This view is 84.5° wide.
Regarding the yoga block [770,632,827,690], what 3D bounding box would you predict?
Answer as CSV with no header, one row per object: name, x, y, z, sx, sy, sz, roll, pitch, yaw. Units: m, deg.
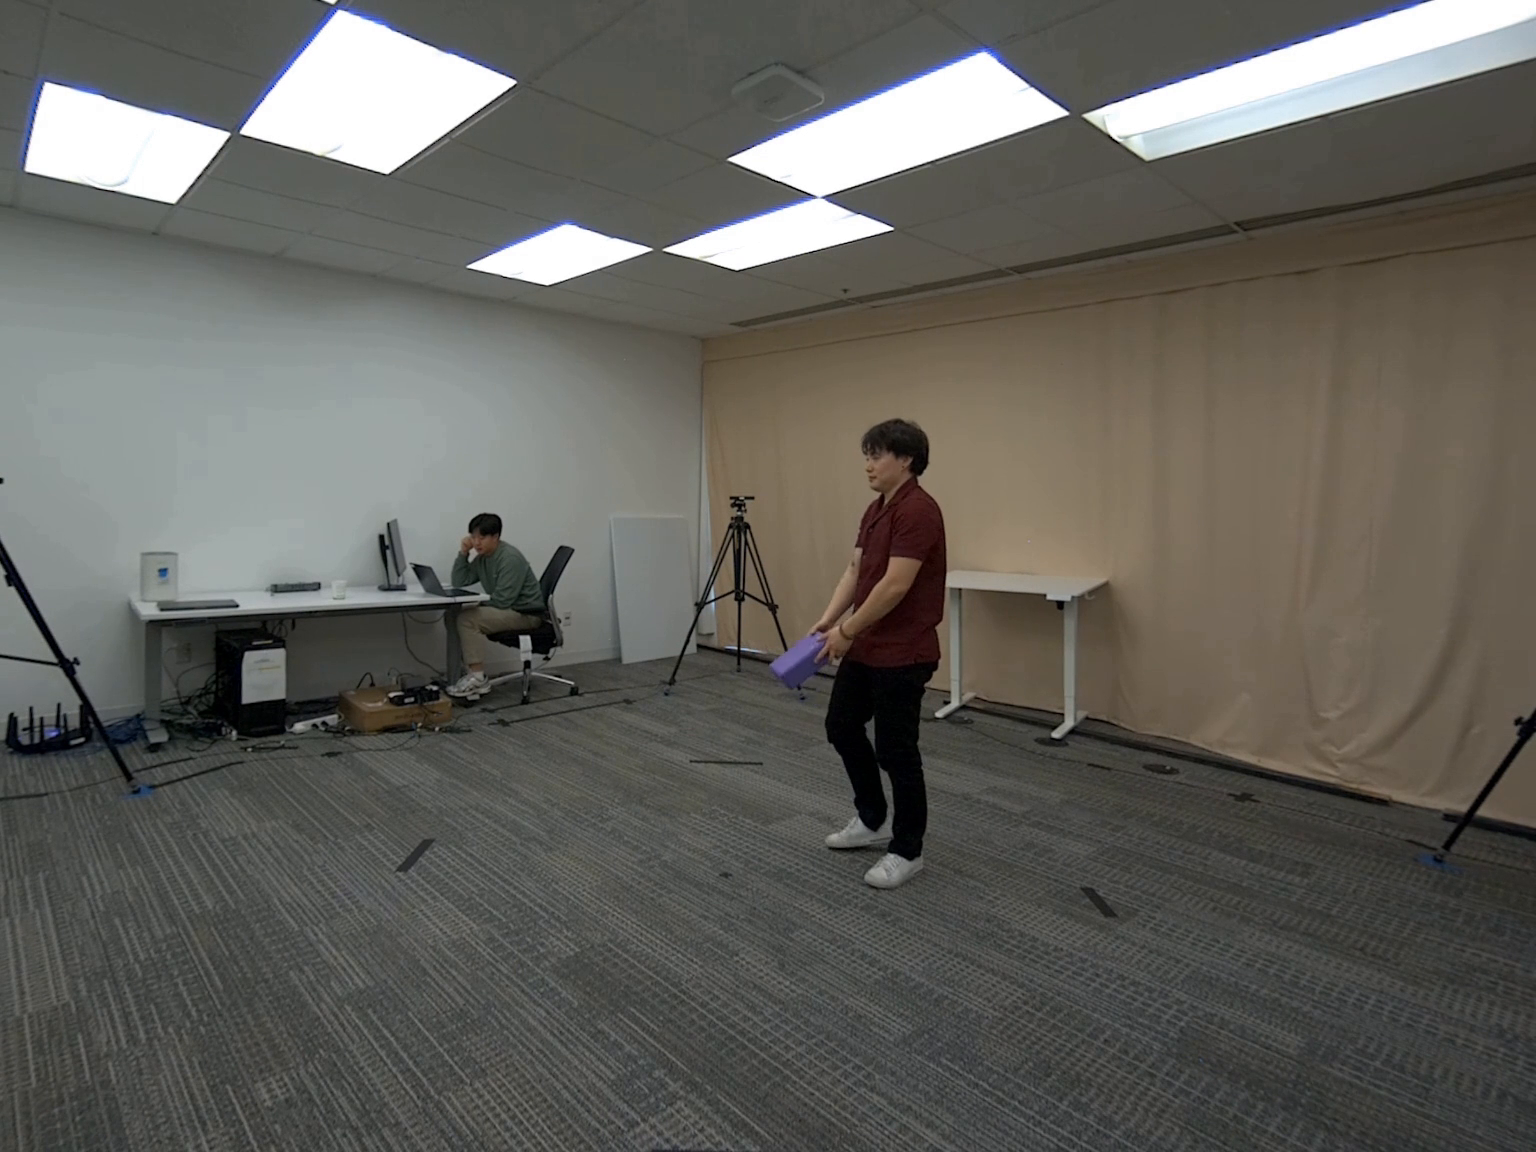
yoga block,0.115,0.291,3.061,0.229,0.075,0.151,-36,15,-7
